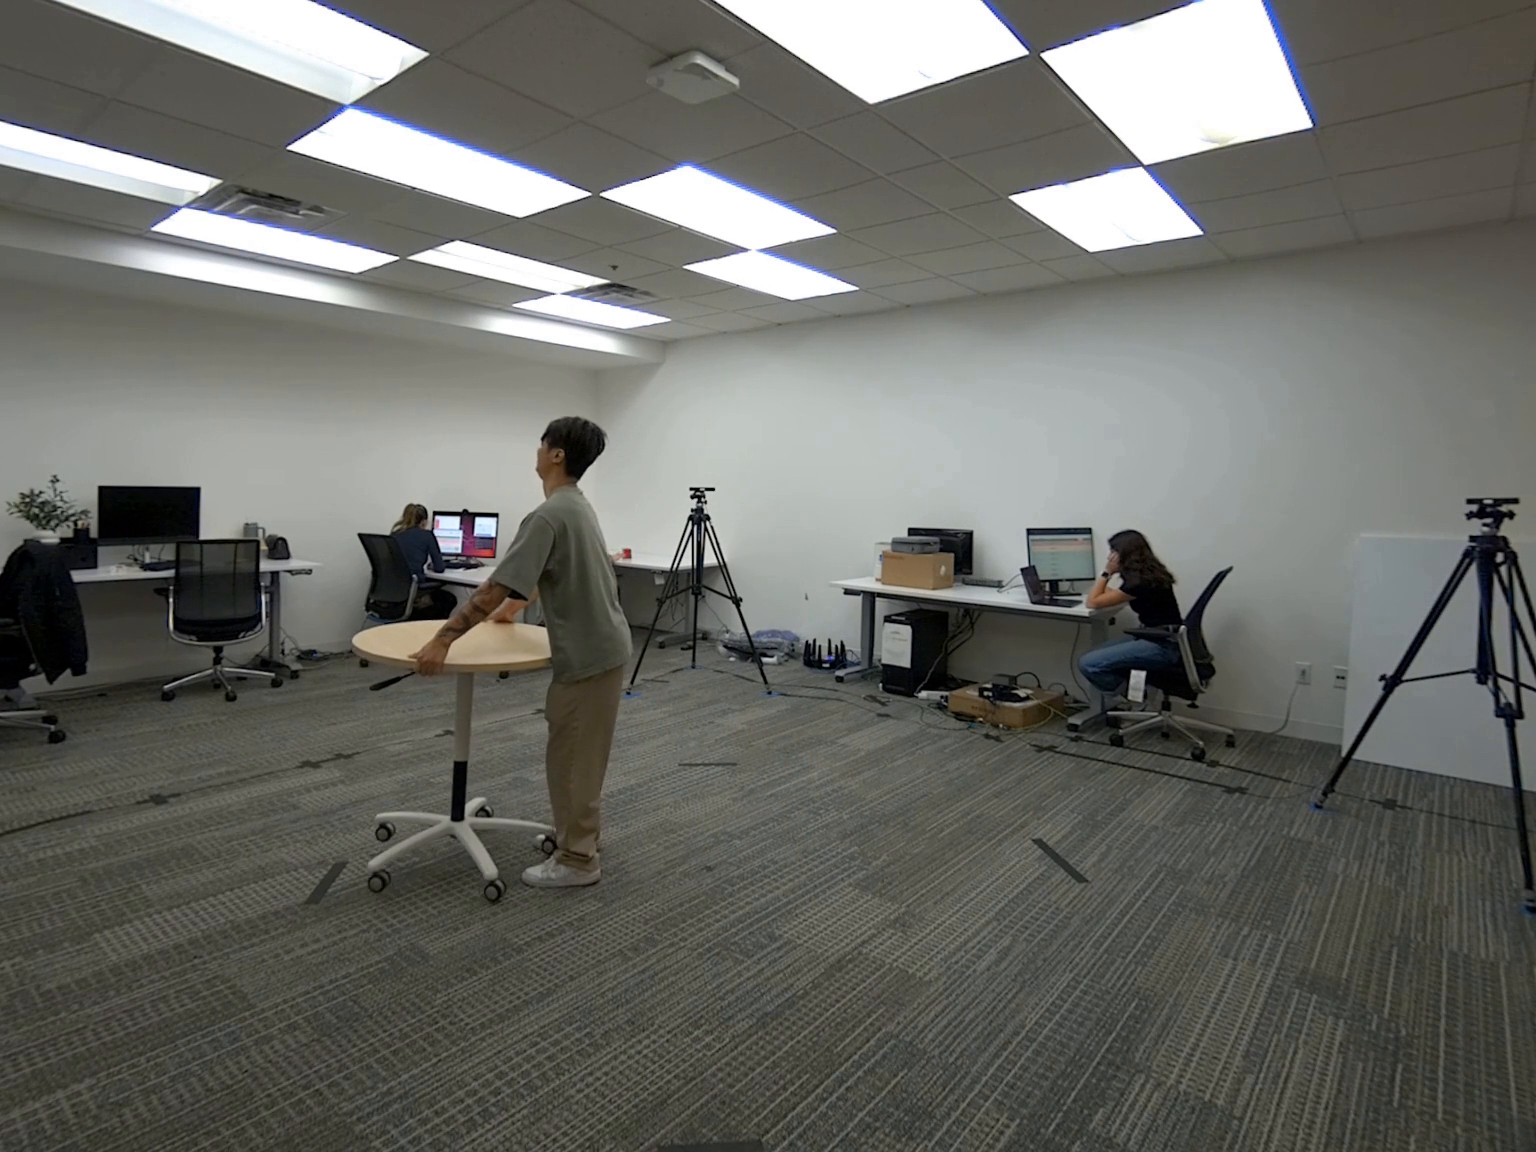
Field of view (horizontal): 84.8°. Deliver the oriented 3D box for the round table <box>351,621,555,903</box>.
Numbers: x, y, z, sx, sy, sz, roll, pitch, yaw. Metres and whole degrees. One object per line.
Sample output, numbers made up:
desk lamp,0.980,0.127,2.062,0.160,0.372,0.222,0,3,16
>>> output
round table,-1.116,0.621,3.083,0.784,0.783,0.790,4,5,-2
